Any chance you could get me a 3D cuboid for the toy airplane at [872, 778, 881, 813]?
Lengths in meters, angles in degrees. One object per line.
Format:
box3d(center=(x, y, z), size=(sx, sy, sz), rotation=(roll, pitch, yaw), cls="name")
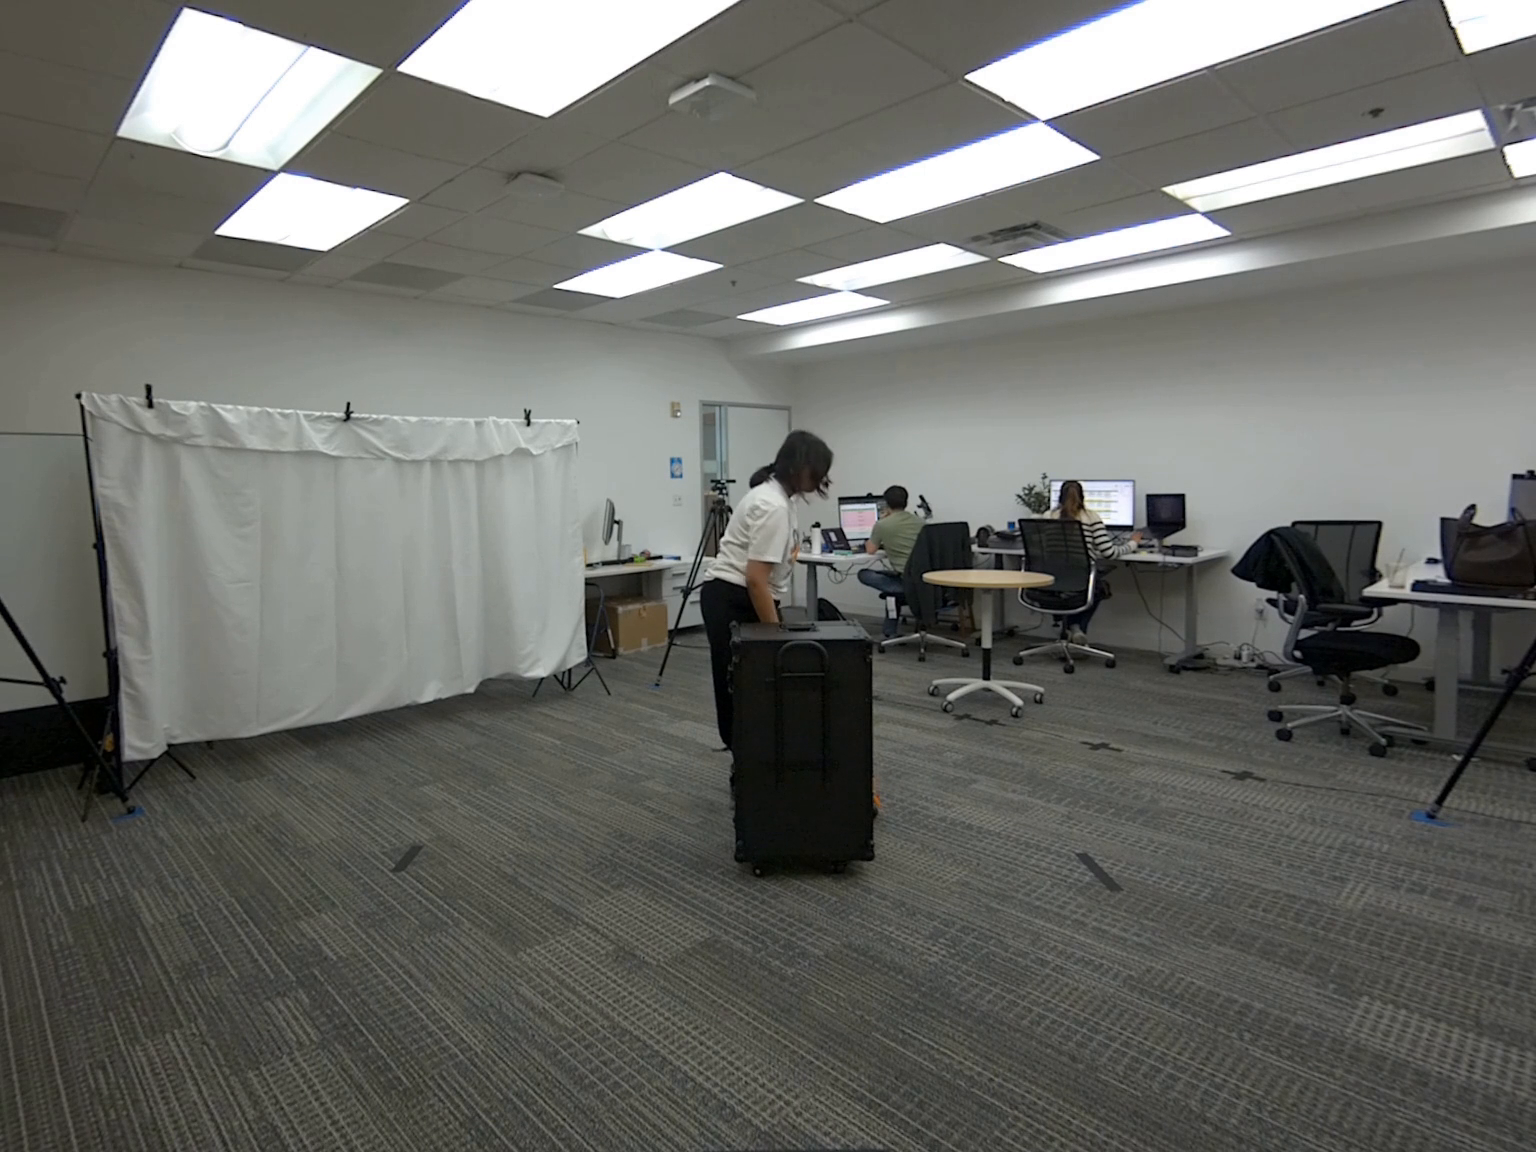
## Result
box3d(center=(0.338, 0.926, 3.517), size=(0.262, 0.156, 0.249), rotation=(2, 5, 12), cls="toy airplane")
